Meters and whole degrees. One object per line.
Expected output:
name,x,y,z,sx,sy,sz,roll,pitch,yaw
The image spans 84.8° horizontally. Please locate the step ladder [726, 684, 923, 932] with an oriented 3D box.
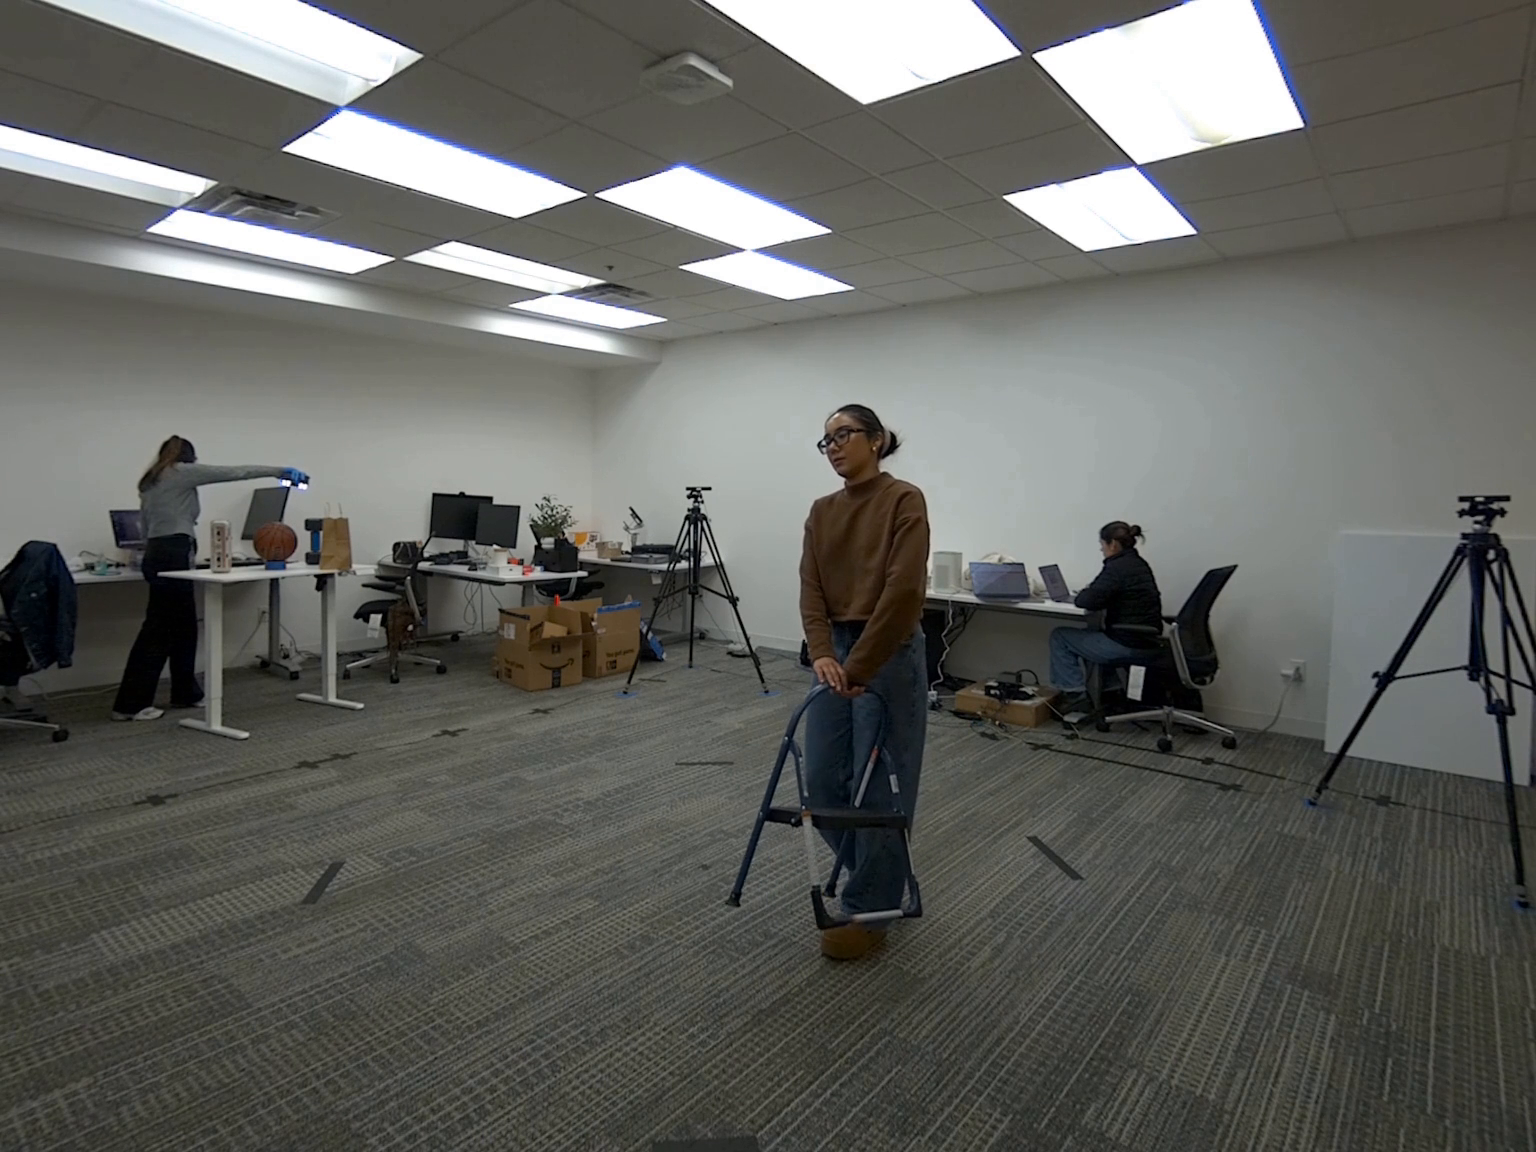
step ladder,0.160,0.602,2.361,0.414,0.613,0.358,14,-17,-43
